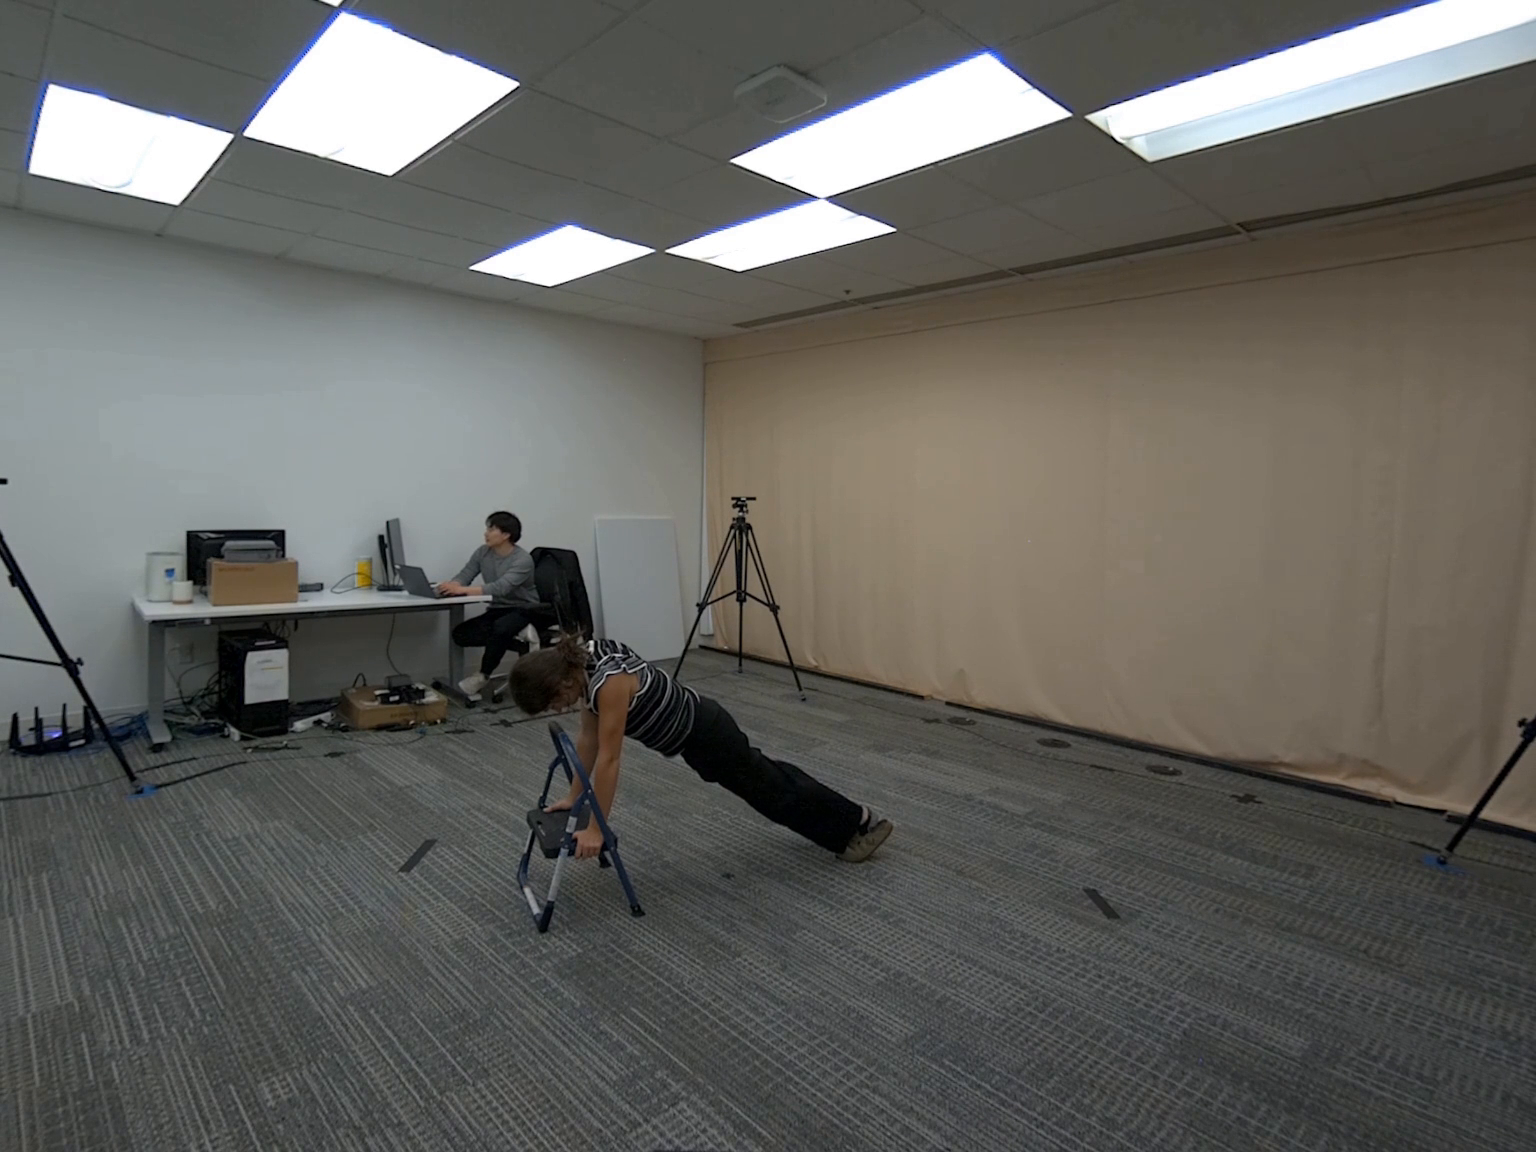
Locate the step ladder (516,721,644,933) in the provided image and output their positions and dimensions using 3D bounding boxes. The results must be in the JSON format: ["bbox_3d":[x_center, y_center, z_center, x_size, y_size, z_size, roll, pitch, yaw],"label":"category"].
[{"bbox_3d":[-0.662,0.815,2.900,0.343,0.604,0.440,-1,4,-27],"label":"step ladder"}]
